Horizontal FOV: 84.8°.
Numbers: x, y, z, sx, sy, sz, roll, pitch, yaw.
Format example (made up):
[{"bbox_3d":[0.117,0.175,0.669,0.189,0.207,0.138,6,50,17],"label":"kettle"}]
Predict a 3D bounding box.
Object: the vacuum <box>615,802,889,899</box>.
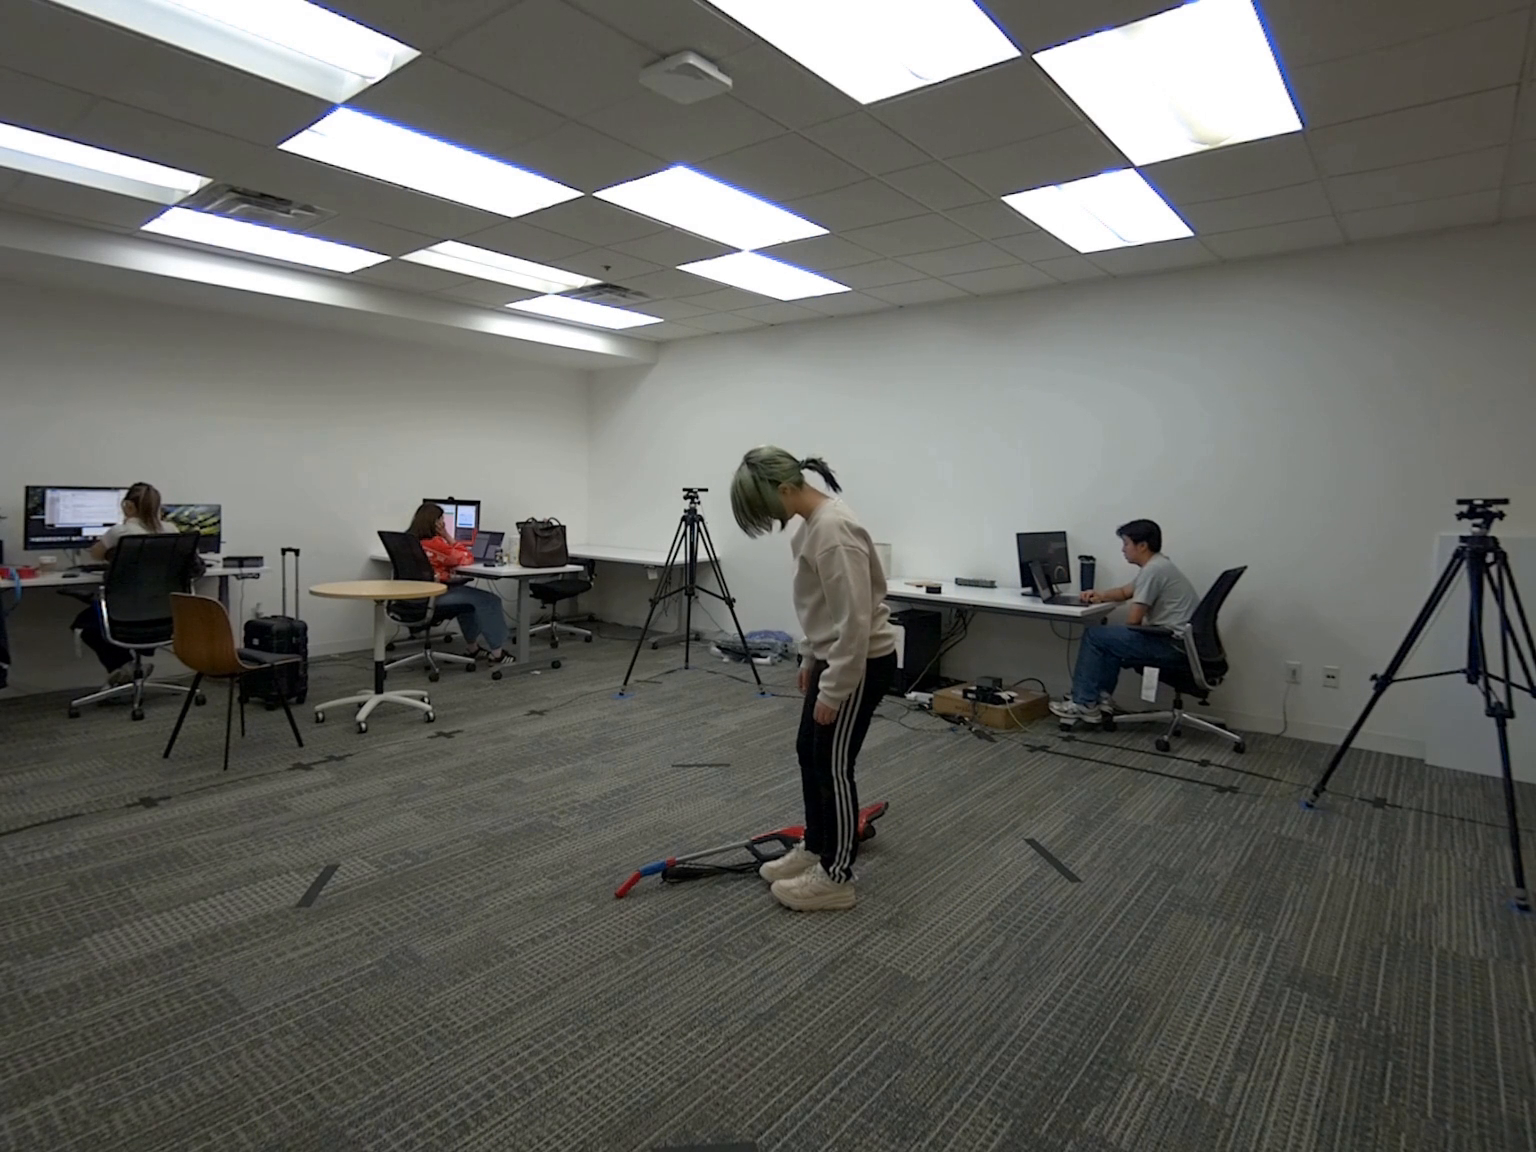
[{"bbox_3d":[-0.060,1.019,3.123,1.025,0.148,0.252,-6,-23,-27],"label":"vacuum"}]
